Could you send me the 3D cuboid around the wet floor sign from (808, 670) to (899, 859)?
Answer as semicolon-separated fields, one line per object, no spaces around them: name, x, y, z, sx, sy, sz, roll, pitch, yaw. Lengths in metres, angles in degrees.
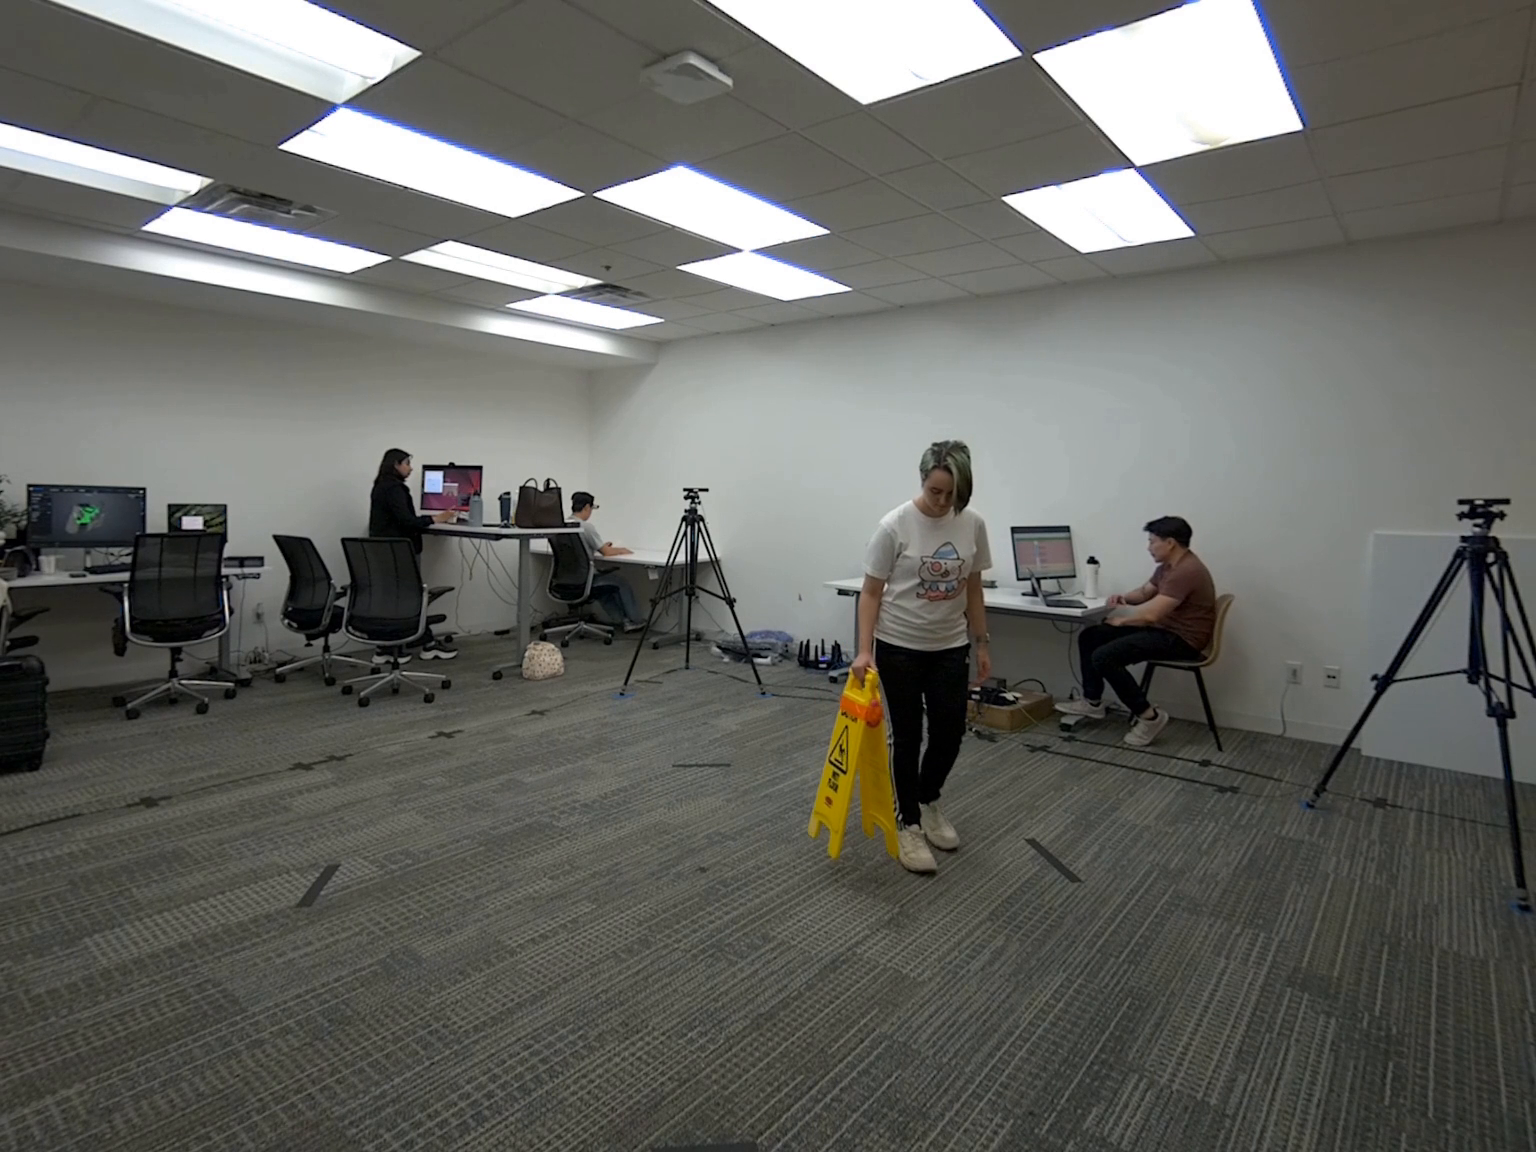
wet floor sign;0.323;0.658;3.106;0.284;0.646;0.287;2;0;-18
